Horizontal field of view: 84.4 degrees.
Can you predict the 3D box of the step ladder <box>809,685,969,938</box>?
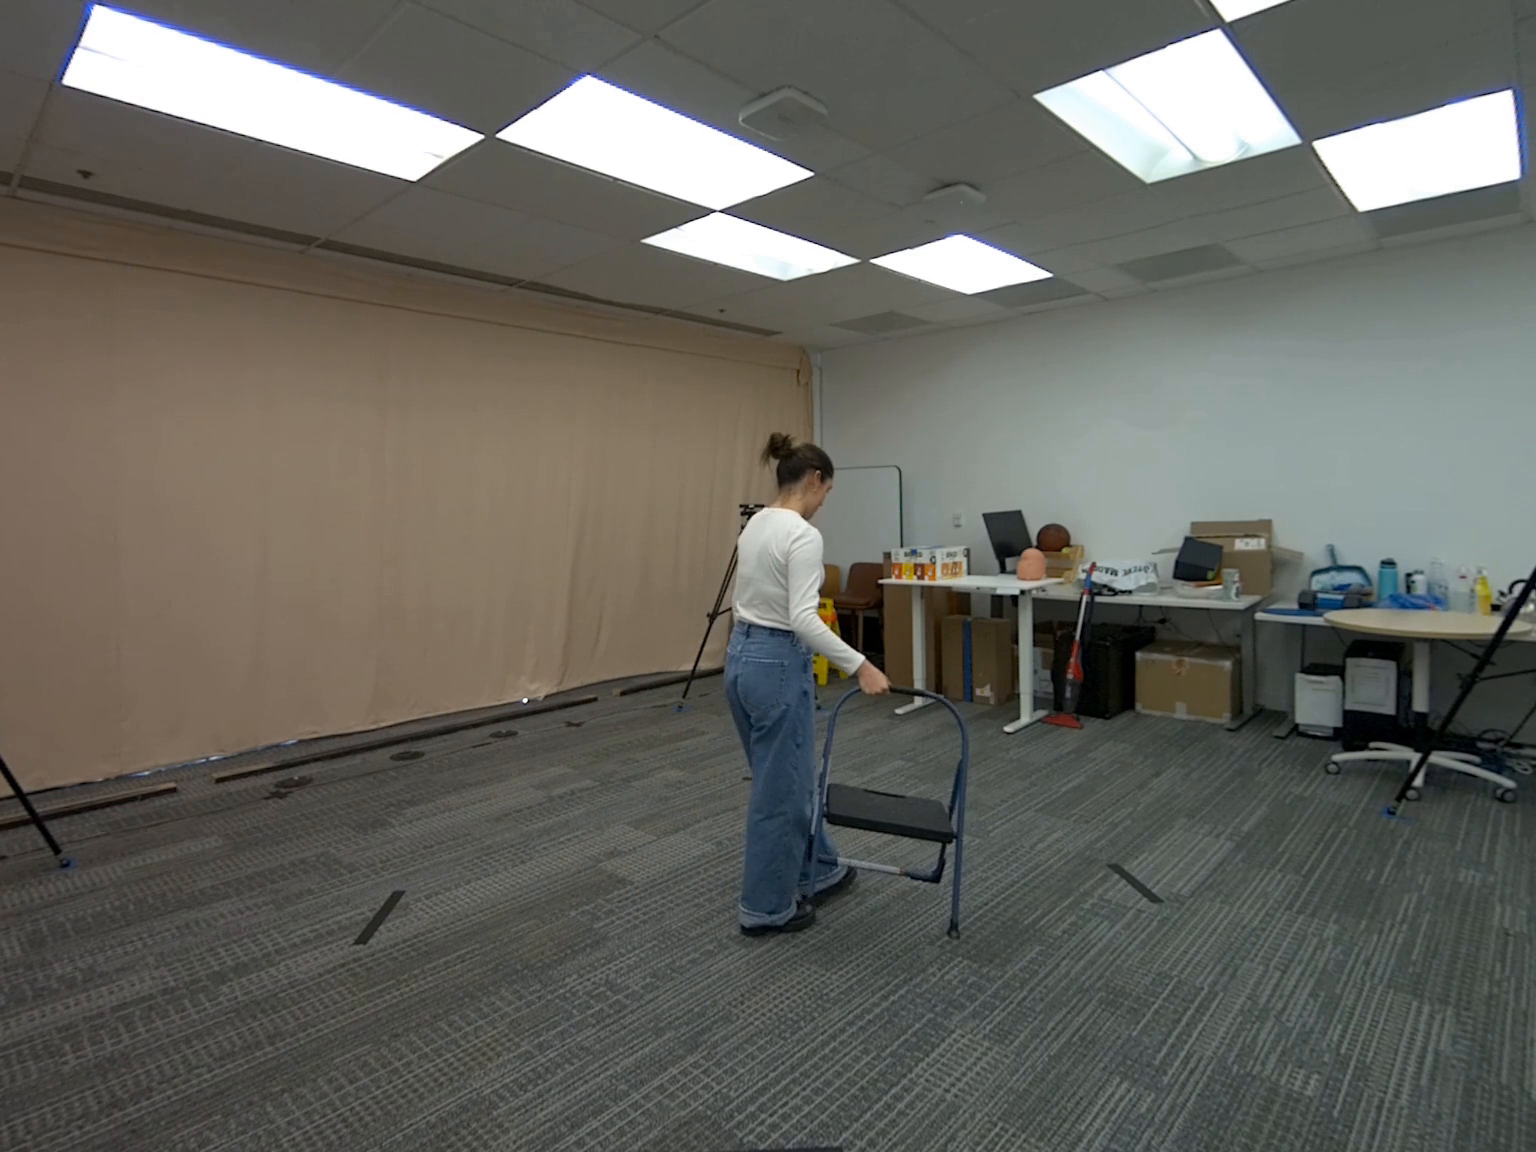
[{"bbox_3d":[0.378,0.651,2.433,0.433,0.604,0.348,9,5,4],"label":"step ladder"}]
